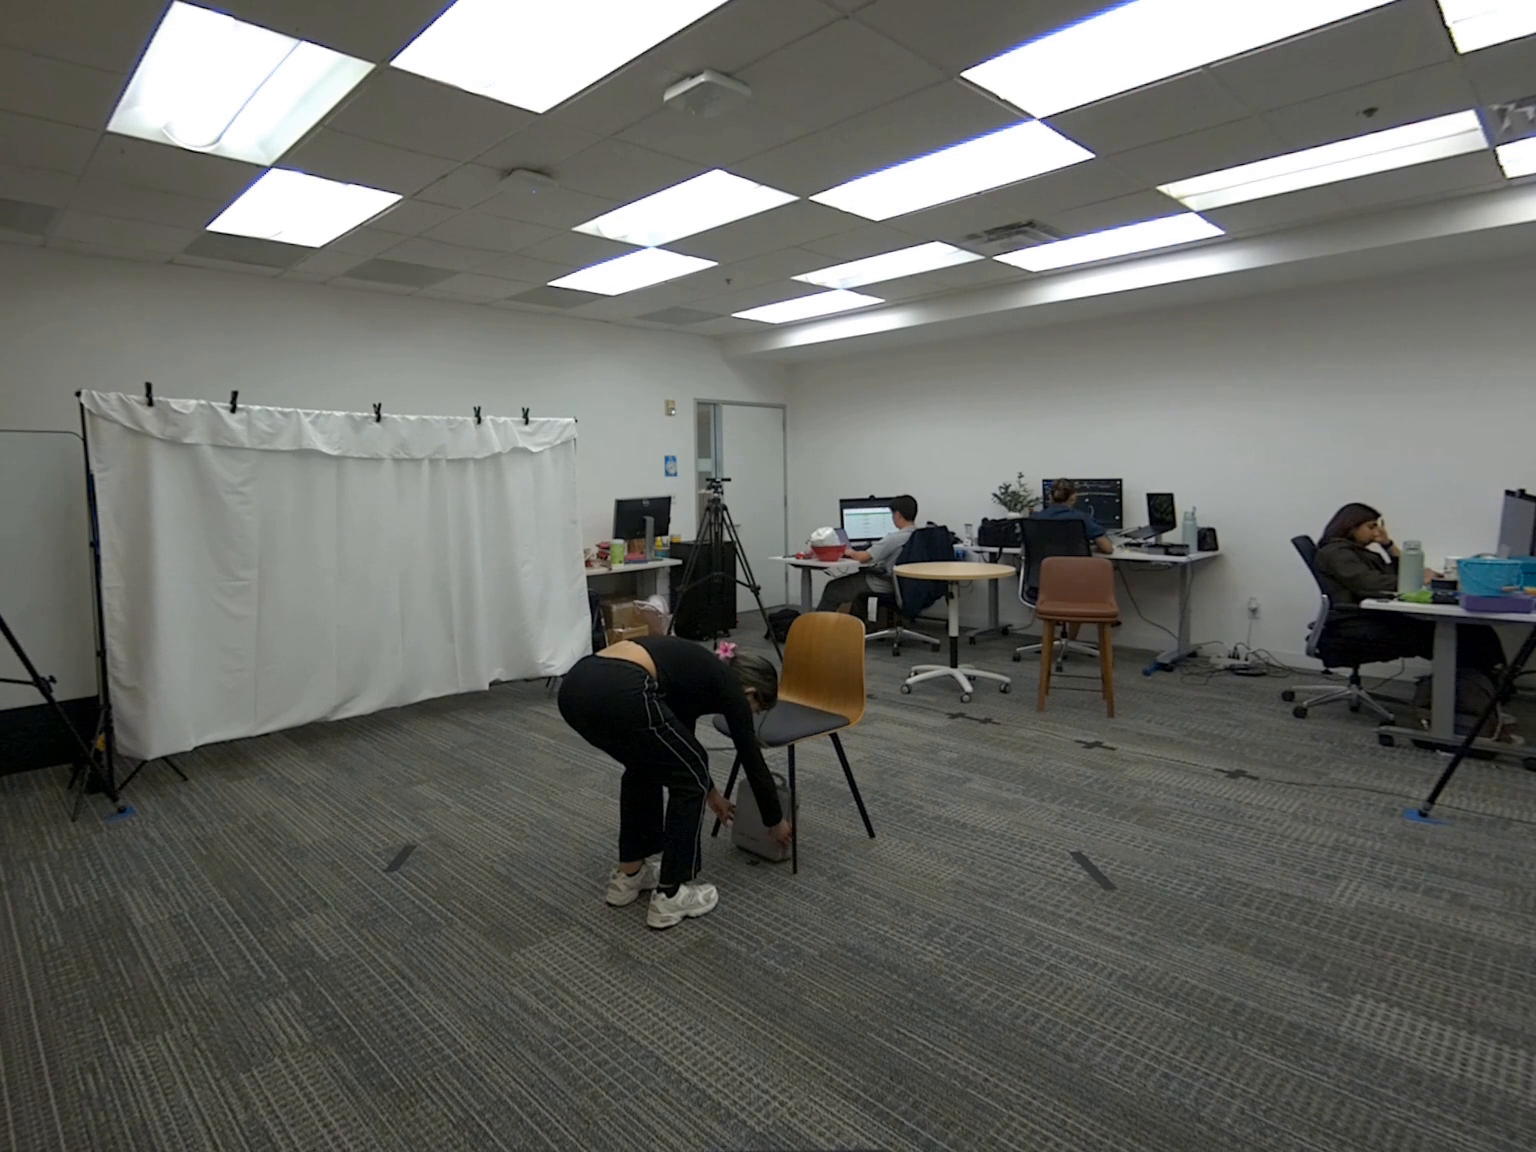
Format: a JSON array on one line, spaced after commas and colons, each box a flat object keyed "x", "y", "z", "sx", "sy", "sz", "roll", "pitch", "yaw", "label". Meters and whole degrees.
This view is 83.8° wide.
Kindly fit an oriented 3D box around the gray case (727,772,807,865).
[{"x": -0.007, "y": 0.895, "z": 3.195, "sx": 0.265, "sy": 0.261, "sz": 0.101, "roll": 5, "pitch": -6, "yaw": 45, "label": "gray case"}]
